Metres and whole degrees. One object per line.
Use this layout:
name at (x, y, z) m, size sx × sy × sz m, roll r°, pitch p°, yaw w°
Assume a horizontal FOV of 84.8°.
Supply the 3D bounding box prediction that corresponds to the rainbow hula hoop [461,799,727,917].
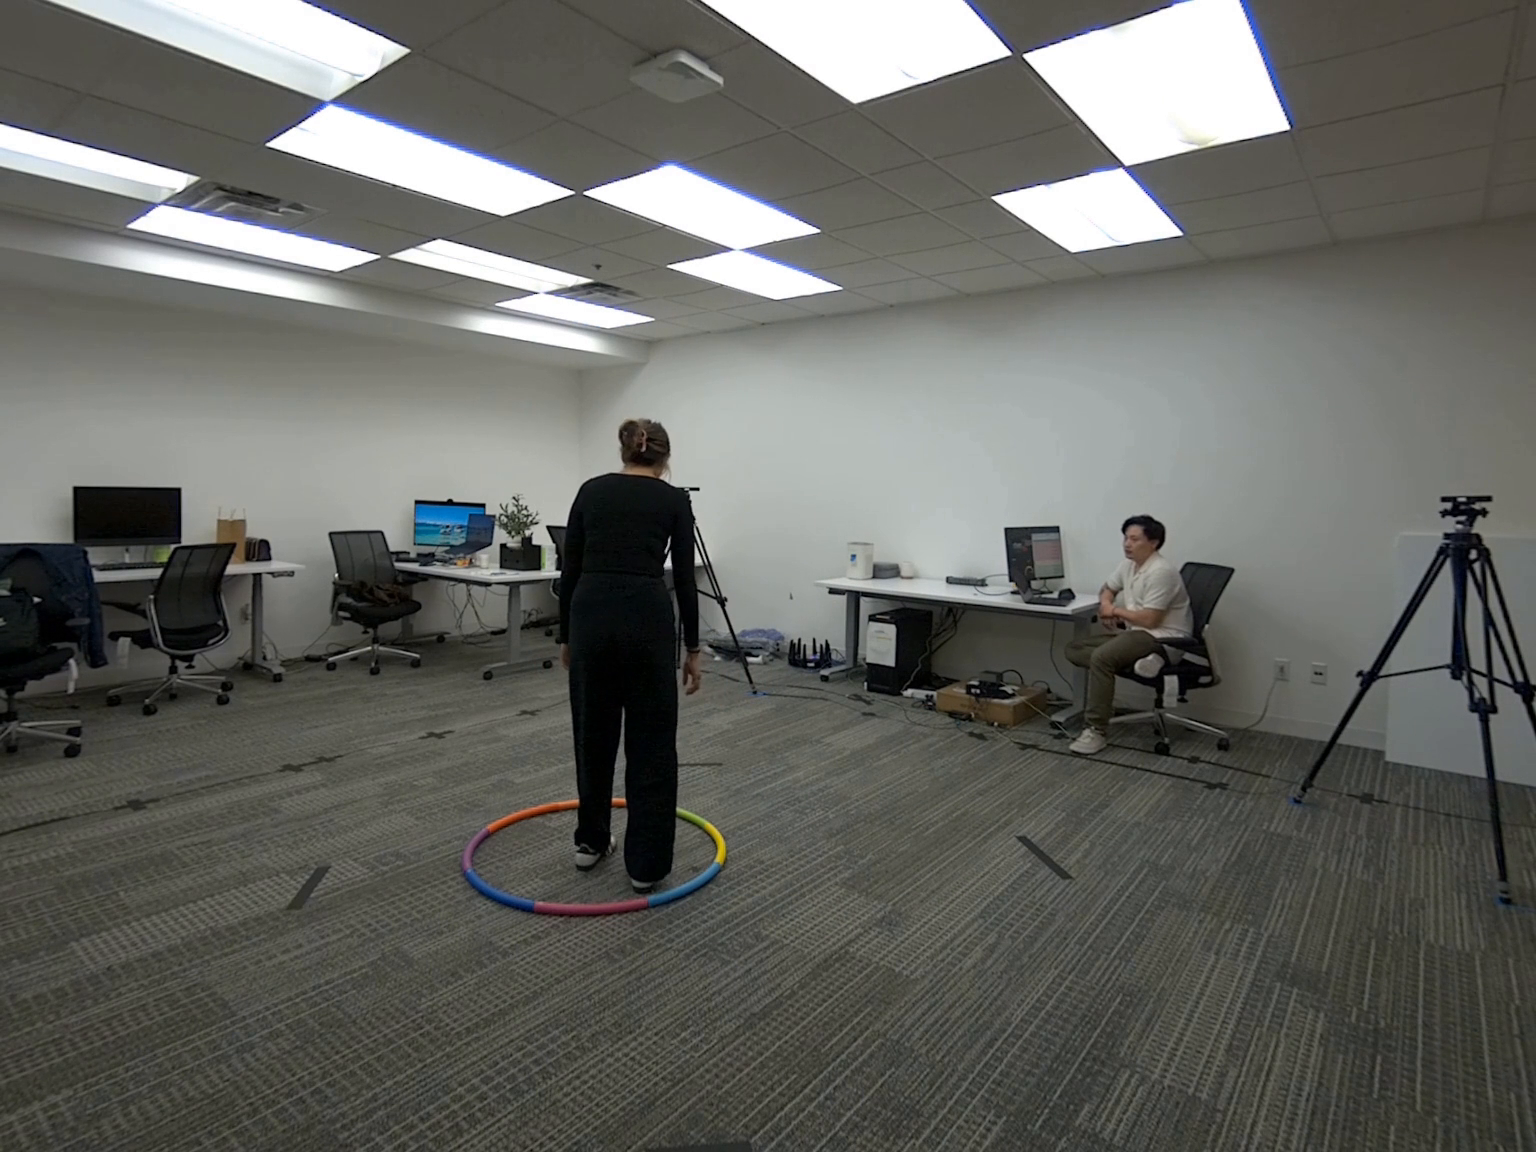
rainbow hula hoop at (-0.655, 1.020, 3.225) m, size 0.978 × 0.035 × 0.984 m, roll 0°, pitch 6°, yaw -2°
